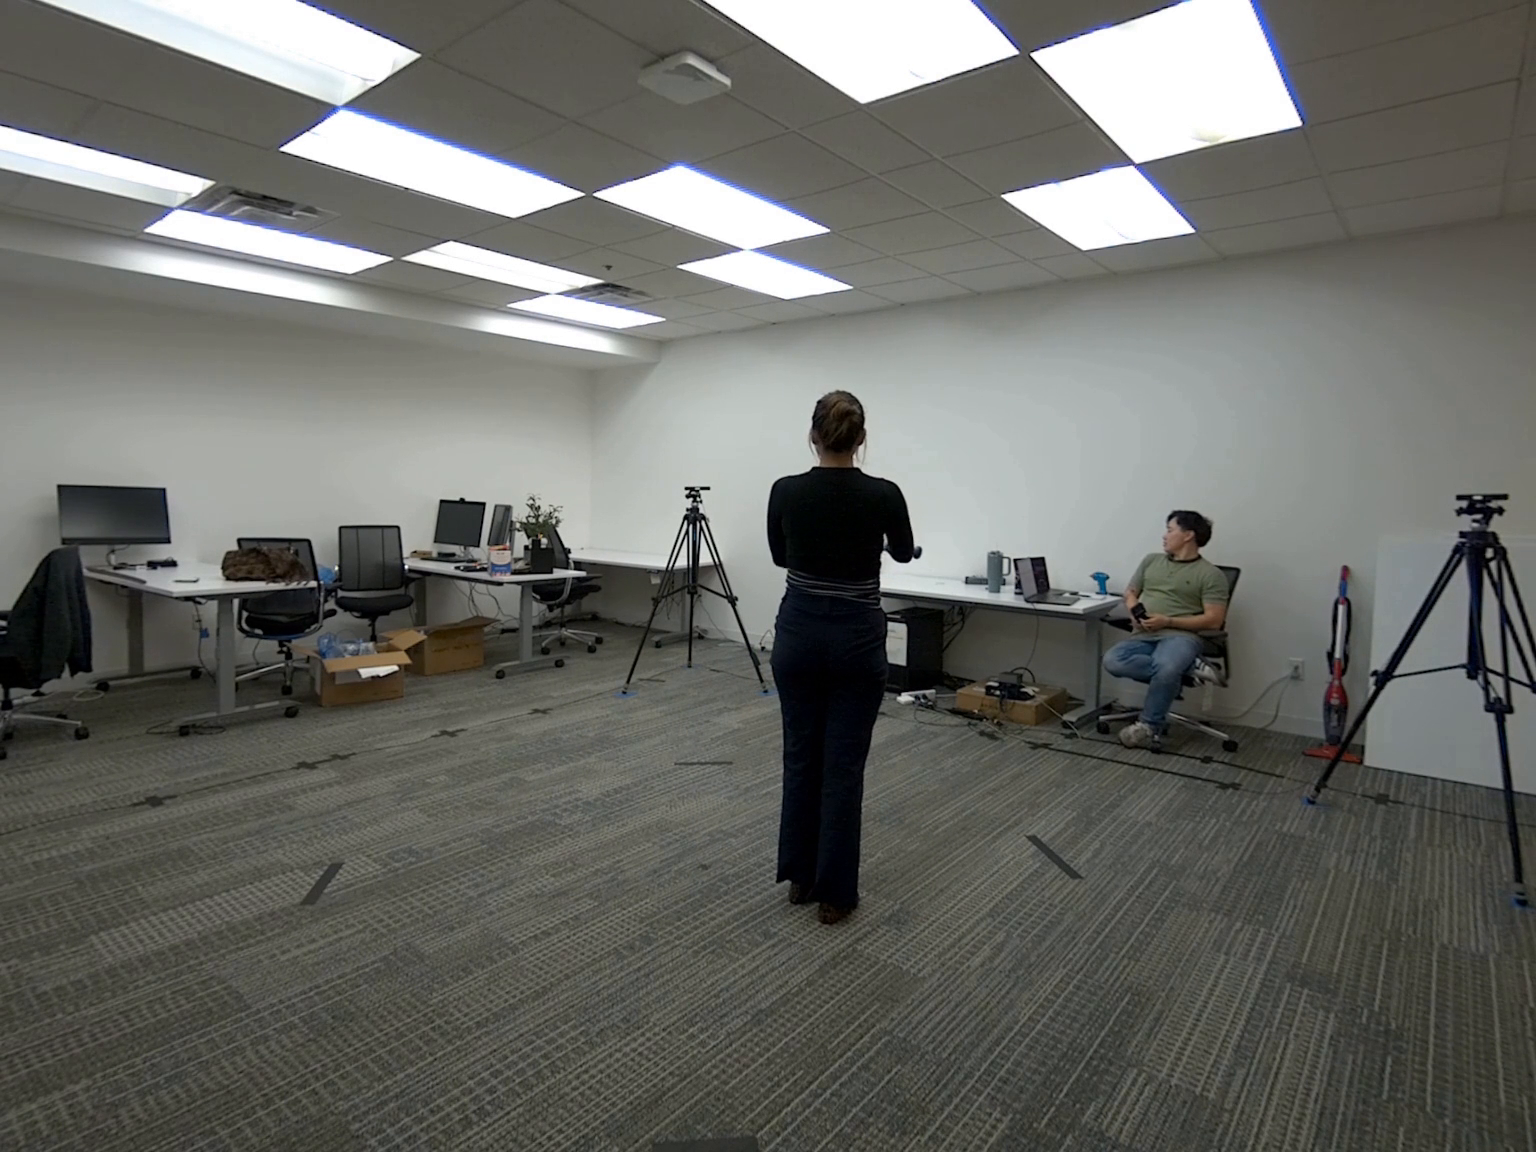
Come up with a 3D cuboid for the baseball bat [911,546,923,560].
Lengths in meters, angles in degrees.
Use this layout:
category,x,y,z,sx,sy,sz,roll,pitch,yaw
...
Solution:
category,x,y,z,sx,sy,sz,roll,pitch,yaw
baseball bat,0.332,-0.161,3.353,0.559,0.088,0.087,18,10,24
